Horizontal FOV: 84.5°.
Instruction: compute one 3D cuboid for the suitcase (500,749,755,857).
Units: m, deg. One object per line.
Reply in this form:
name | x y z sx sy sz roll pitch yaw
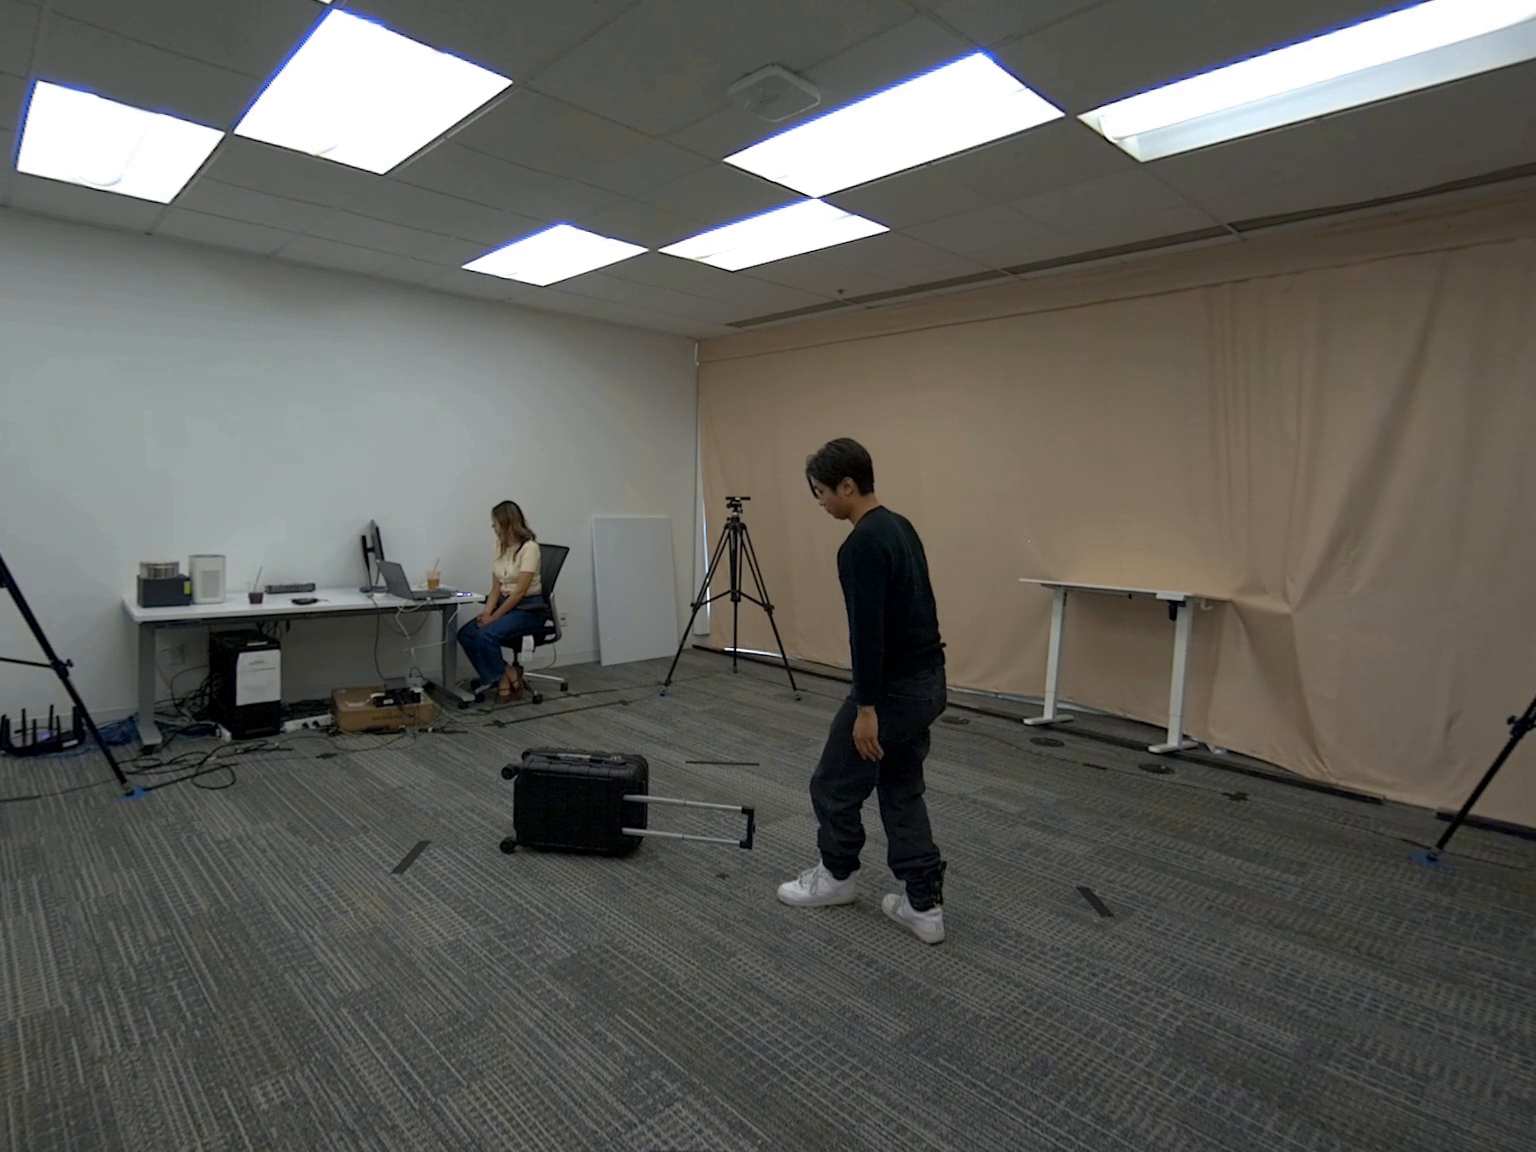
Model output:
suitcase | -0.543 0.896 3.307 0.984 0.383 0.256 2 5 7
